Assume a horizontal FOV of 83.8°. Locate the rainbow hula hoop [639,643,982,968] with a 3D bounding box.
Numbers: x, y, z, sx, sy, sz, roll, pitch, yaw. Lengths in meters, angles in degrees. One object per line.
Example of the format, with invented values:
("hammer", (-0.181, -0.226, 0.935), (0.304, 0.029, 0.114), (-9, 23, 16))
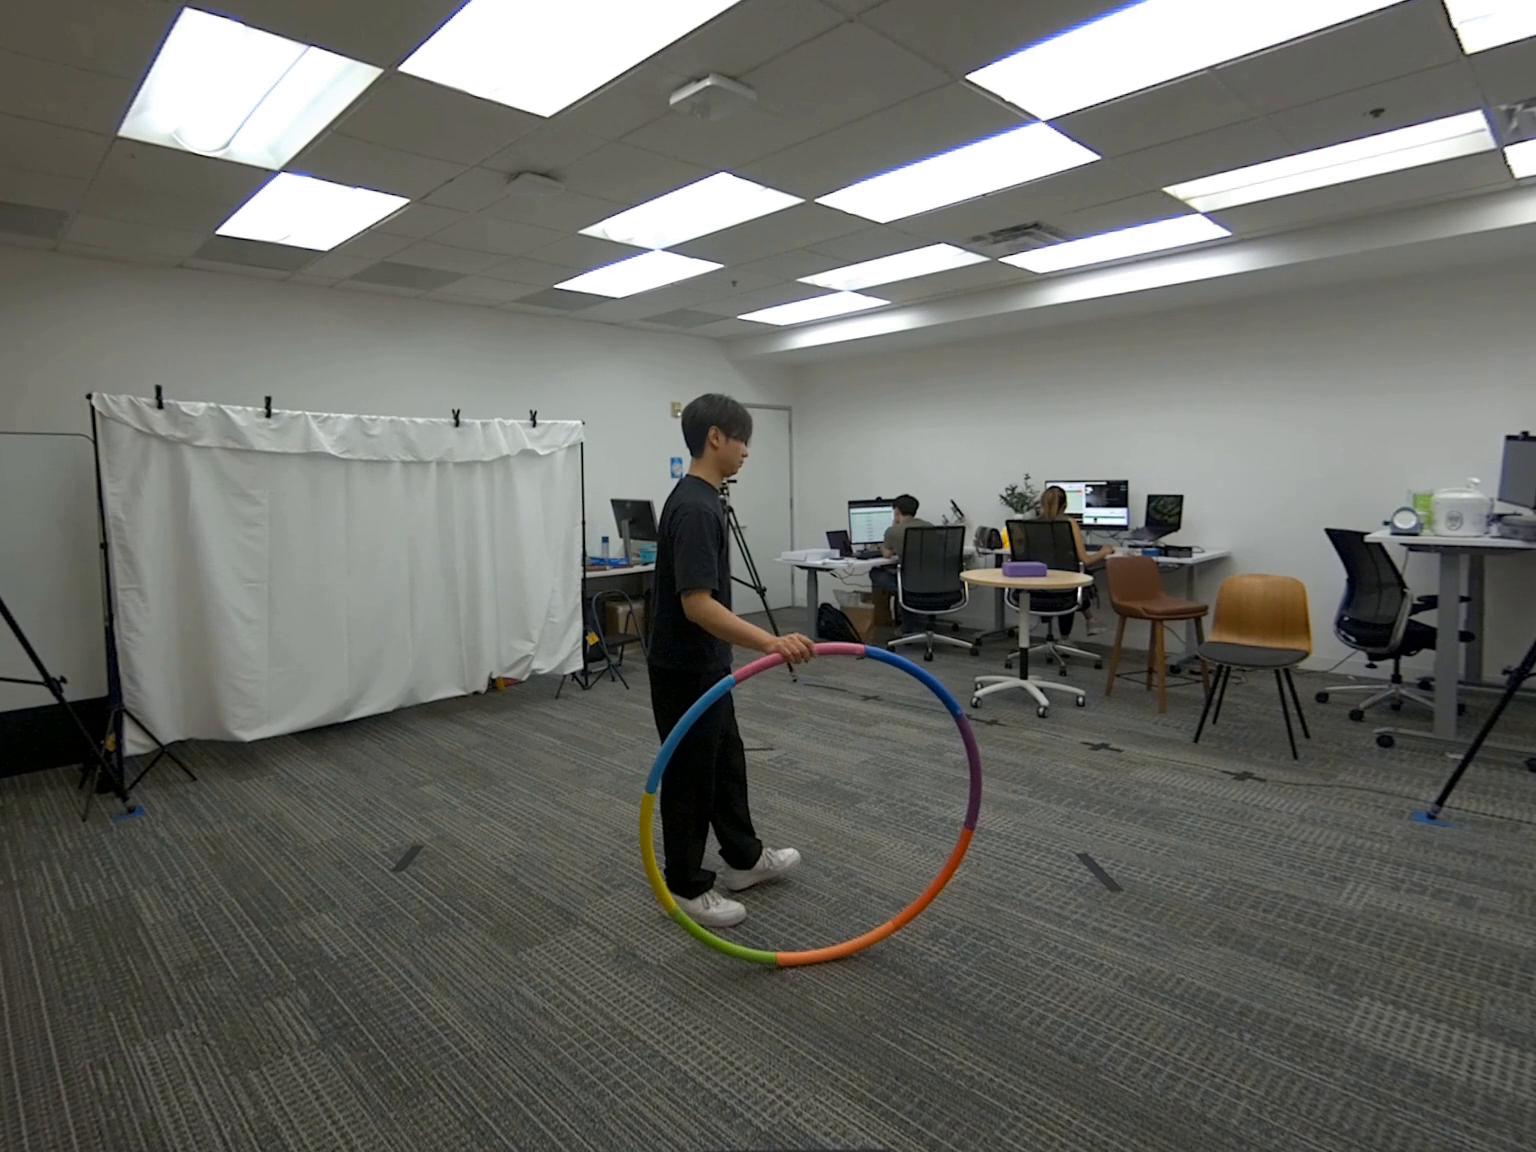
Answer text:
("rainbow hula hoop", (0.144, 0.645, 2.385), (0.967, 0.969, 0.036), (-2, 11, -12))
